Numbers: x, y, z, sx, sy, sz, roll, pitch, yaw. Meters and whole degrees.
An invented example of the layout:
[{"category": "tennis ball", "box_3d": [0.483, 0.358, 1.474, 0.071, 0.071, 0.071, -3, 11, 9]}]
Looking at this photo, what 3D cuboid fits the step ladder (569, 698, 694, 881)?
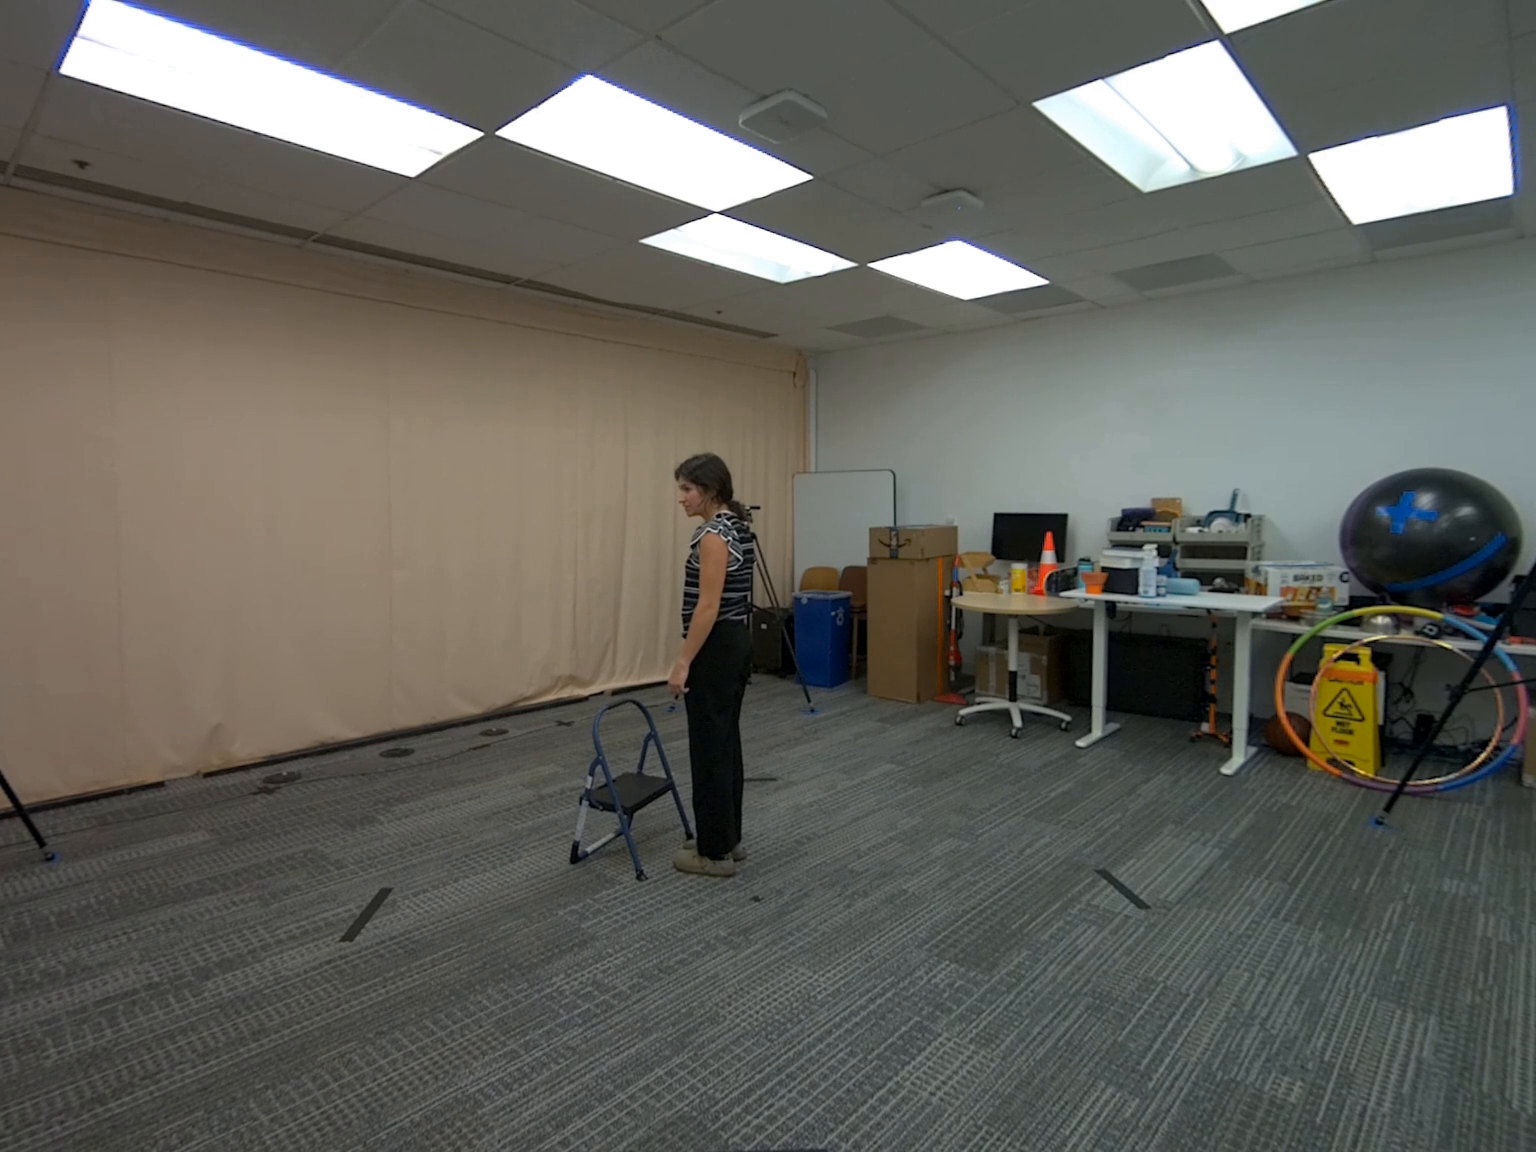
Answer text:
[{"category": "step ladder", "box_3d": [-0.543, 0.815, 3.387, 0.358, 0.605, 0.421, 1, 3, 25]}]
